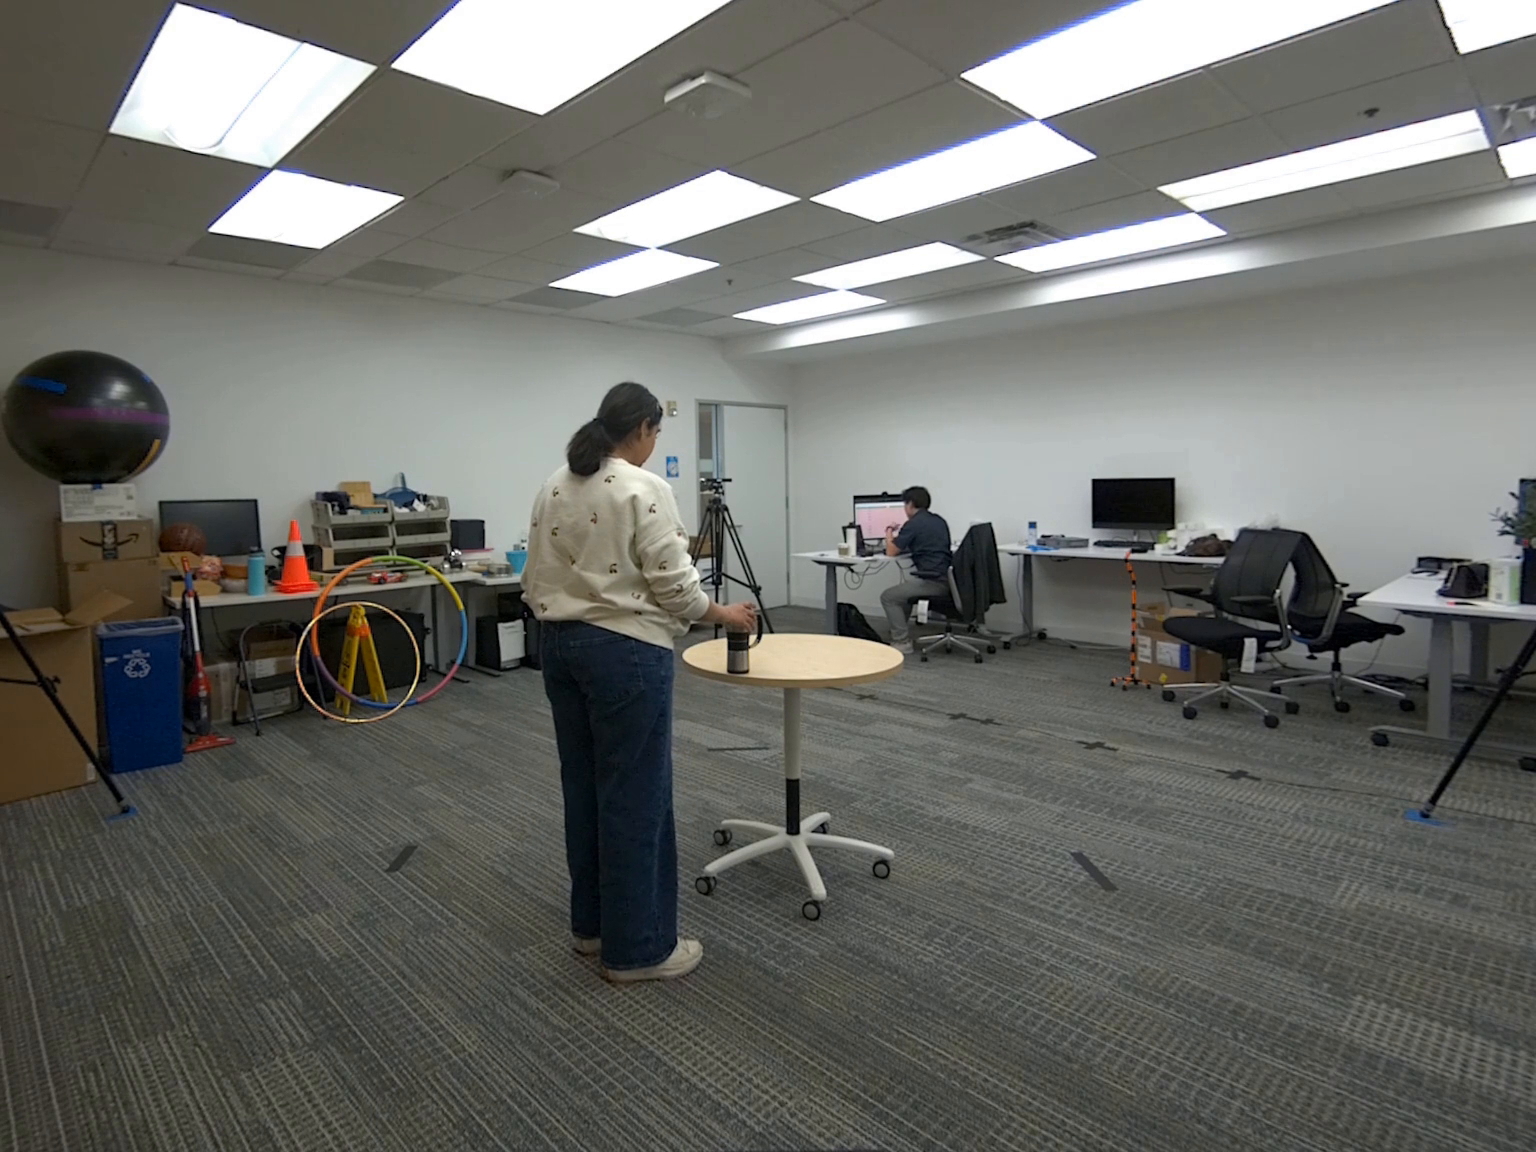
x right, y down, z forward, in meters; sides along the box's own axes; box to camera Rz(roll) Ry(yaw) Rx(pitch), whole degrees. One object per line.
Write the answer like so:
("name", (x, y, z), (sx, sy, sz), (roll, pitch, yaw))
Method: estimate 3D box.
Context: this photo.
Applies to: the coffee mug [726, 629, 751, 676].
("coffee mug", (-0.065, 0.206, 2.694), (0.122, 0.203, 0.088), (-2, 2, -1))
